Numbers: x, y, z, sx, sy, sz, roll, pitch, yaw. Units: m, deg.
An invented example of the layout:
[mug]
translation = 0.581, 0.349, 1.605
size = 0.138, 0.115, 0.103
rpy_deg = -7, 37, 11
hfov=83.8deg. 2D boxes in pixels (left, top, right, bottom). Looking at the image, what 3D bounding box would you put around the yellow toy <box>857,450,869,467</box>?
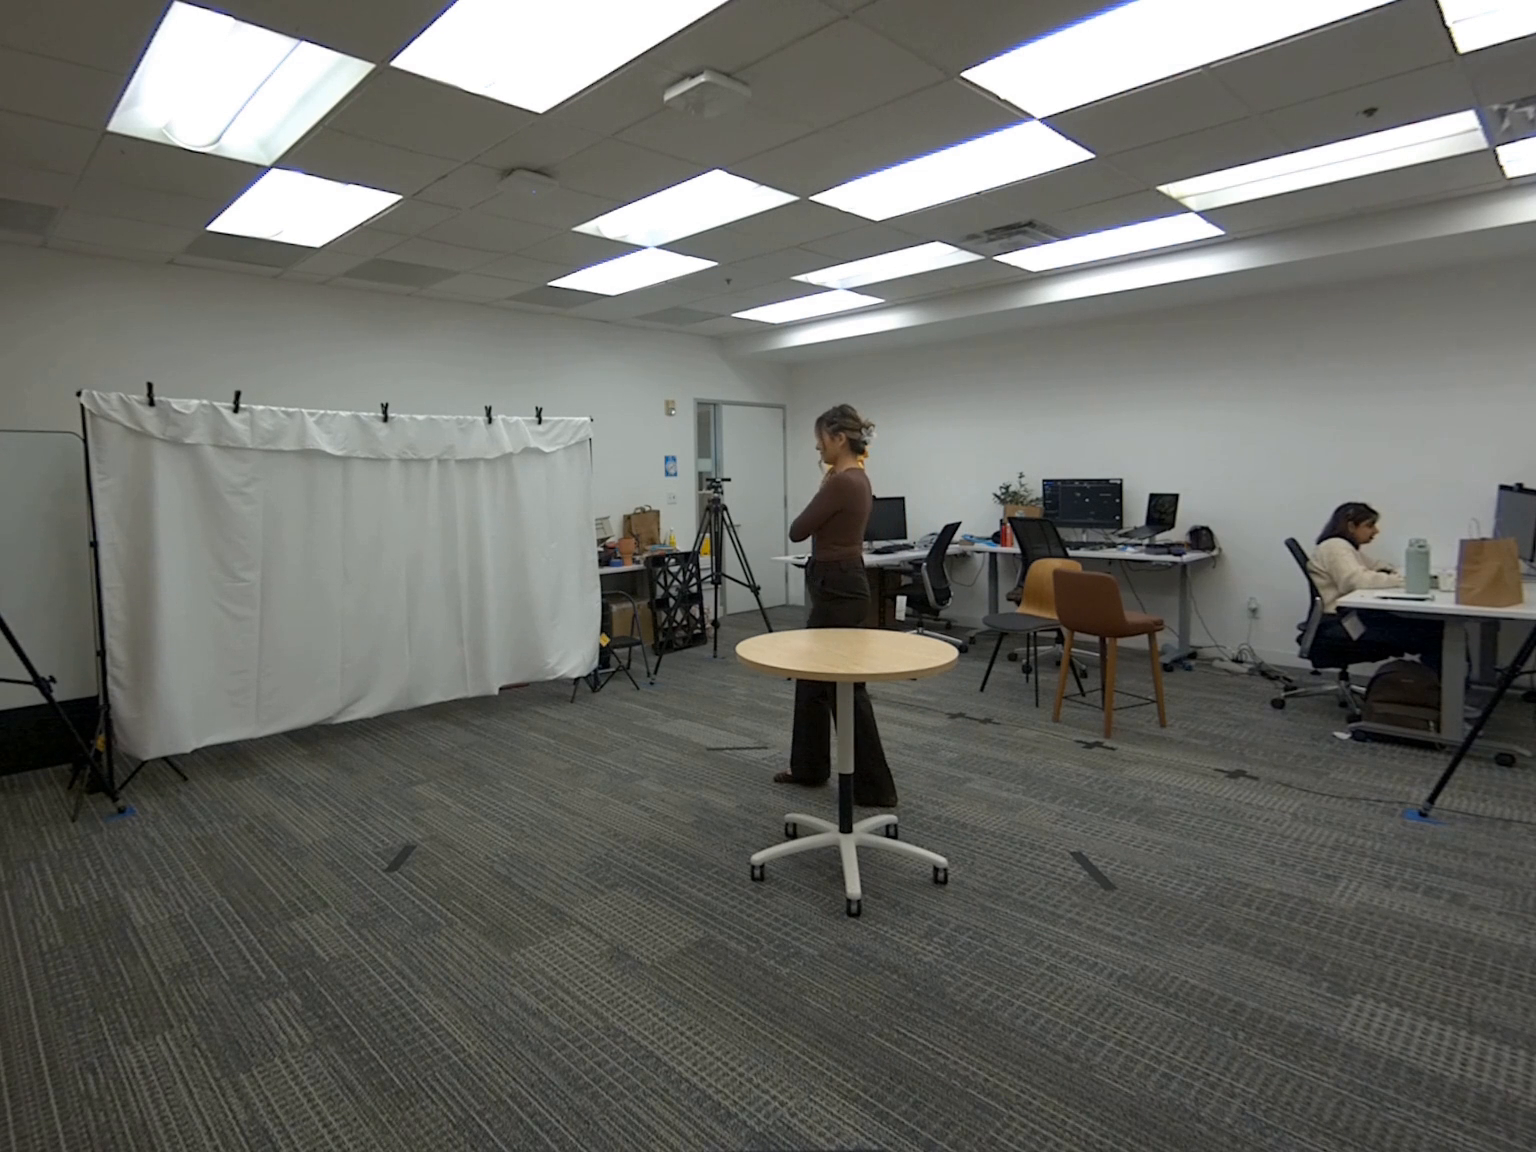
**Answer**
[yellow toy]
translation = 0.361, -0.577, 3.837
size = 0.195, 0.233, 0.201
rpy_deg = -9, -8, 13
